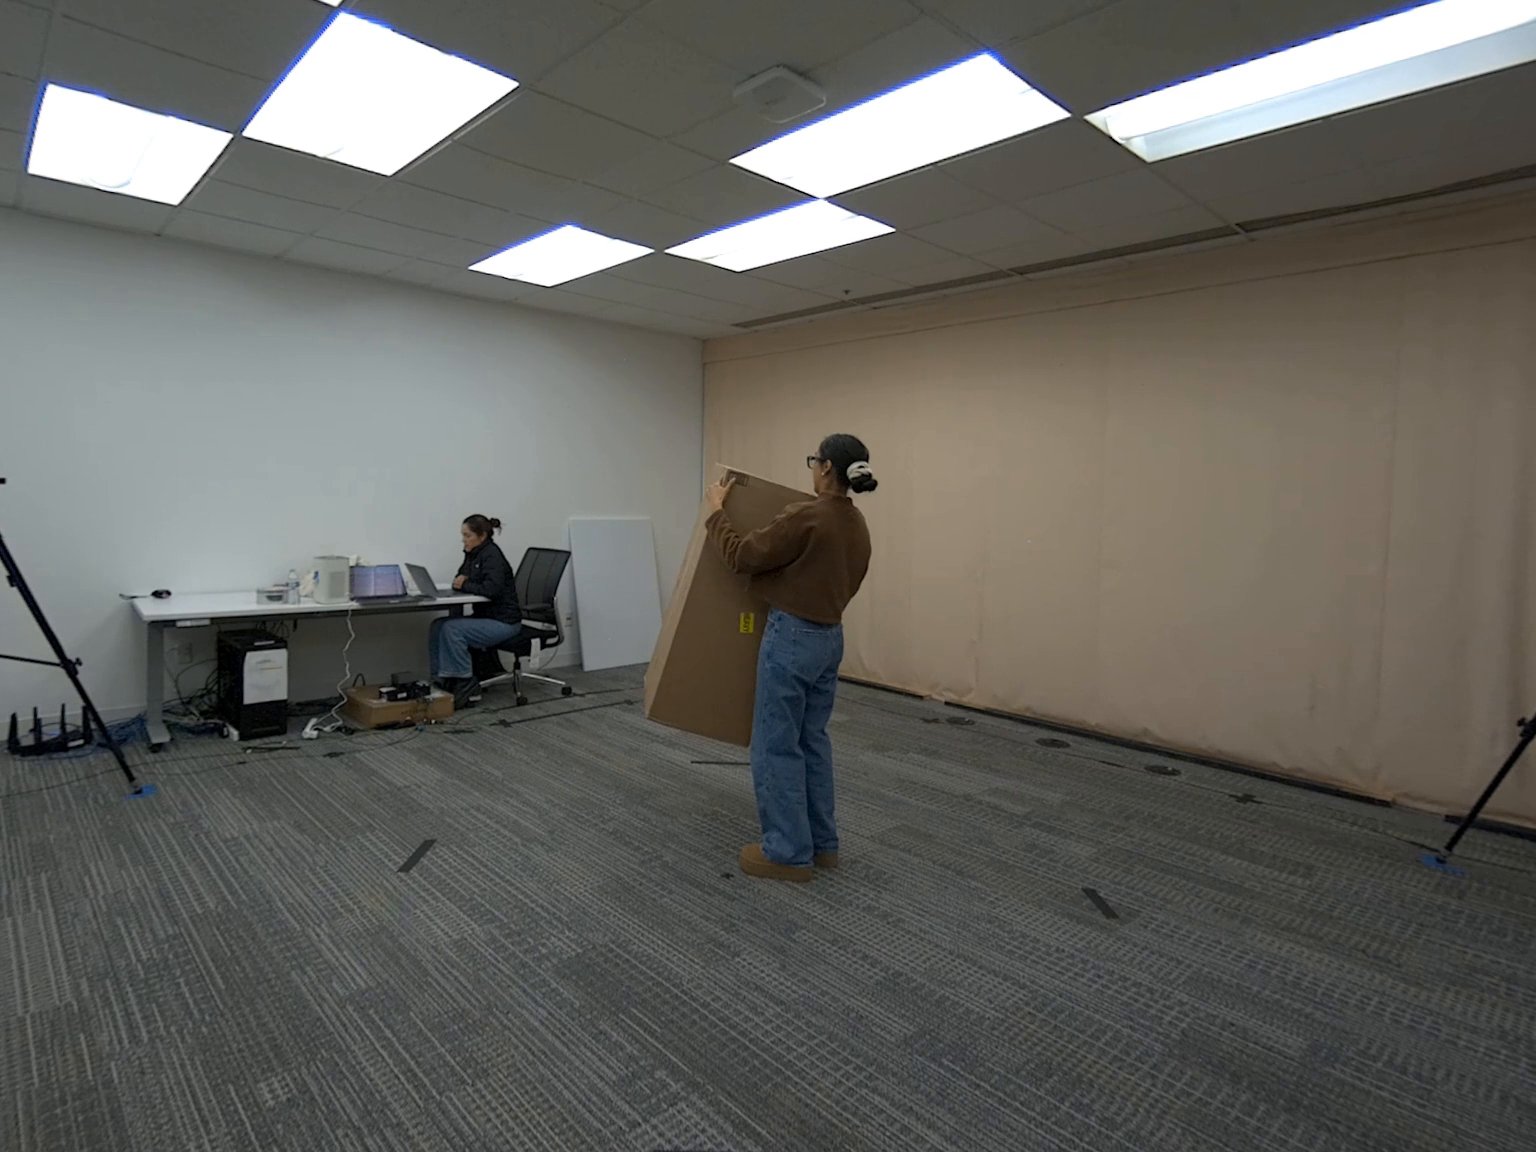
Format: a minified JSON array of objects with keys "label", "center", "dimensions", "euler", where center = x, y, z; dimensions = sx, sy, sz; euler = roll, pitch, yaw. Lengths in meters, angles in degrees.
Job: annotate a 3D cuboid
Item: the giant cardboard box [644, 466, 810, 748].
[{"label":"giant cardboard box","center":[-0.169,0.090,3.523],"dimensions":[0.422,1.023,0.584],"euler":[18,5,-11]}]
